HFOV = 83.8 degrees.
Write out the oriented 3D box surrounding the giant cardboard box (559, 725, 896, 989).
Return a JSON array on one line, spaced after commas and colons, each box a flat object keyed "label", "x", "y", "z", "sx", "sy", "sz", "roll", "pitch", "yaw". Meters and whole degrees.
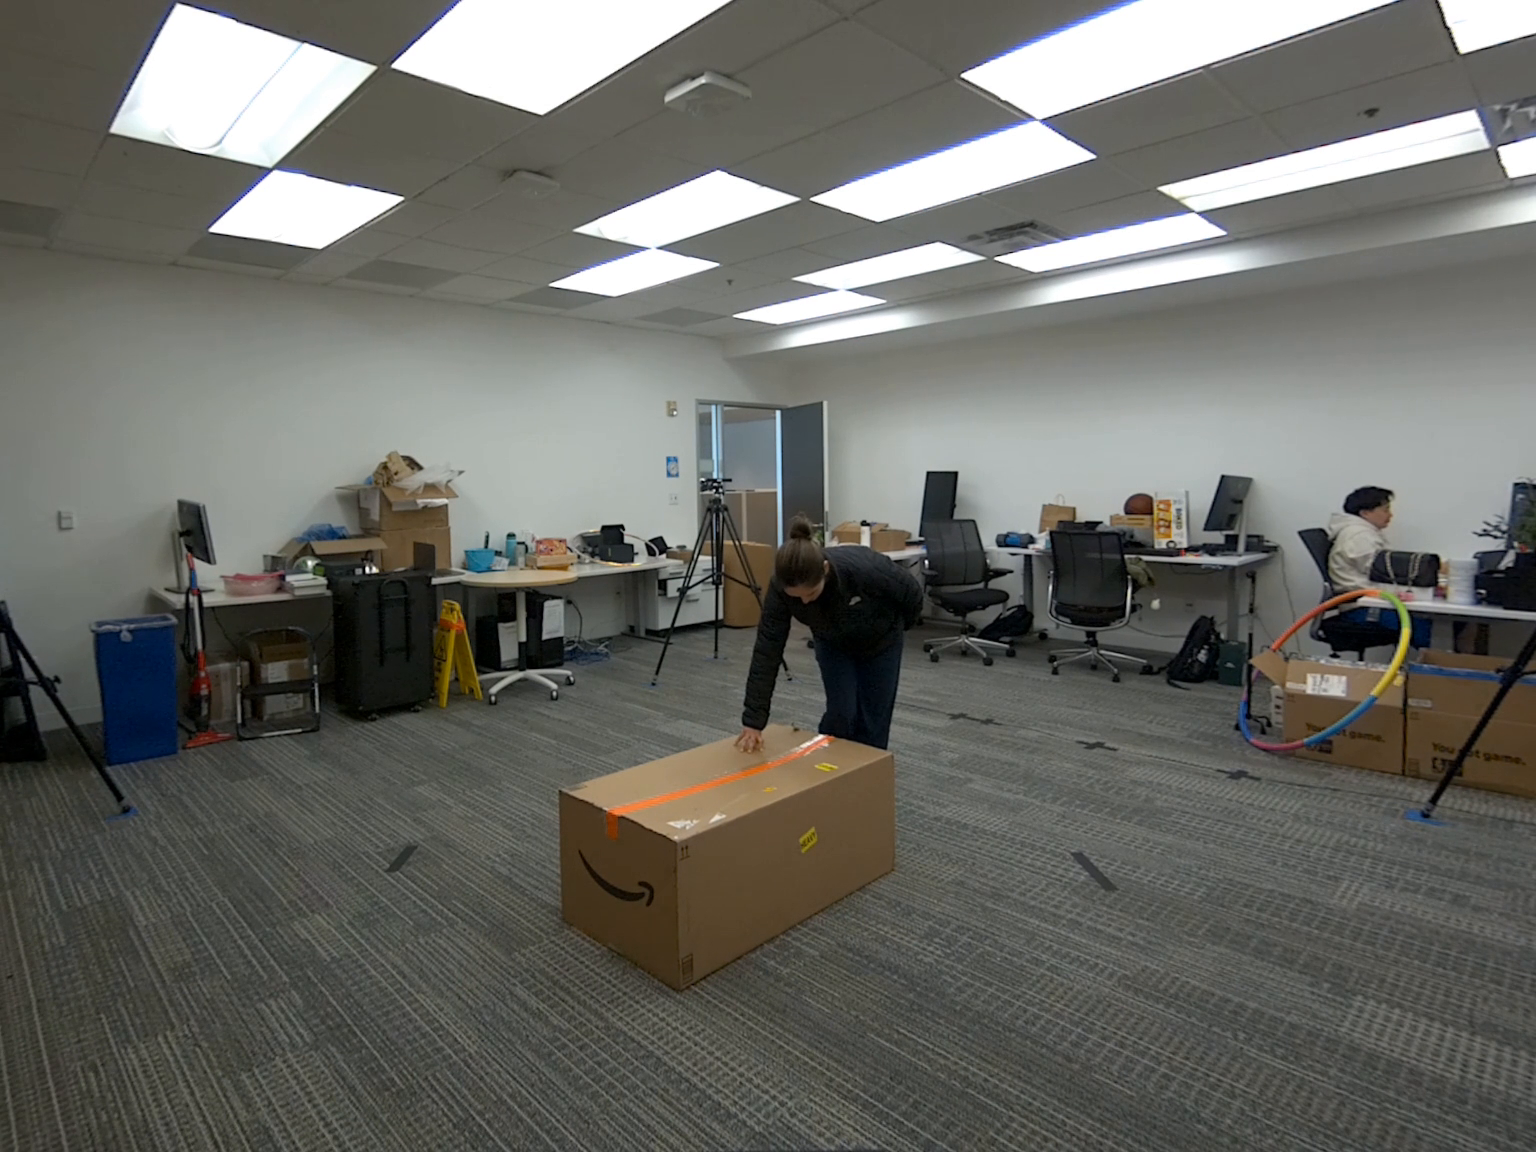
[{"label": "giant cardboard box", "x": -0.108, "y": 0.863, "z": 2.886, "sx": 0.601, "sy": 0.445, "sz": 1.001, "roll": 2, "pitch": 7, "yaw": 44}]
